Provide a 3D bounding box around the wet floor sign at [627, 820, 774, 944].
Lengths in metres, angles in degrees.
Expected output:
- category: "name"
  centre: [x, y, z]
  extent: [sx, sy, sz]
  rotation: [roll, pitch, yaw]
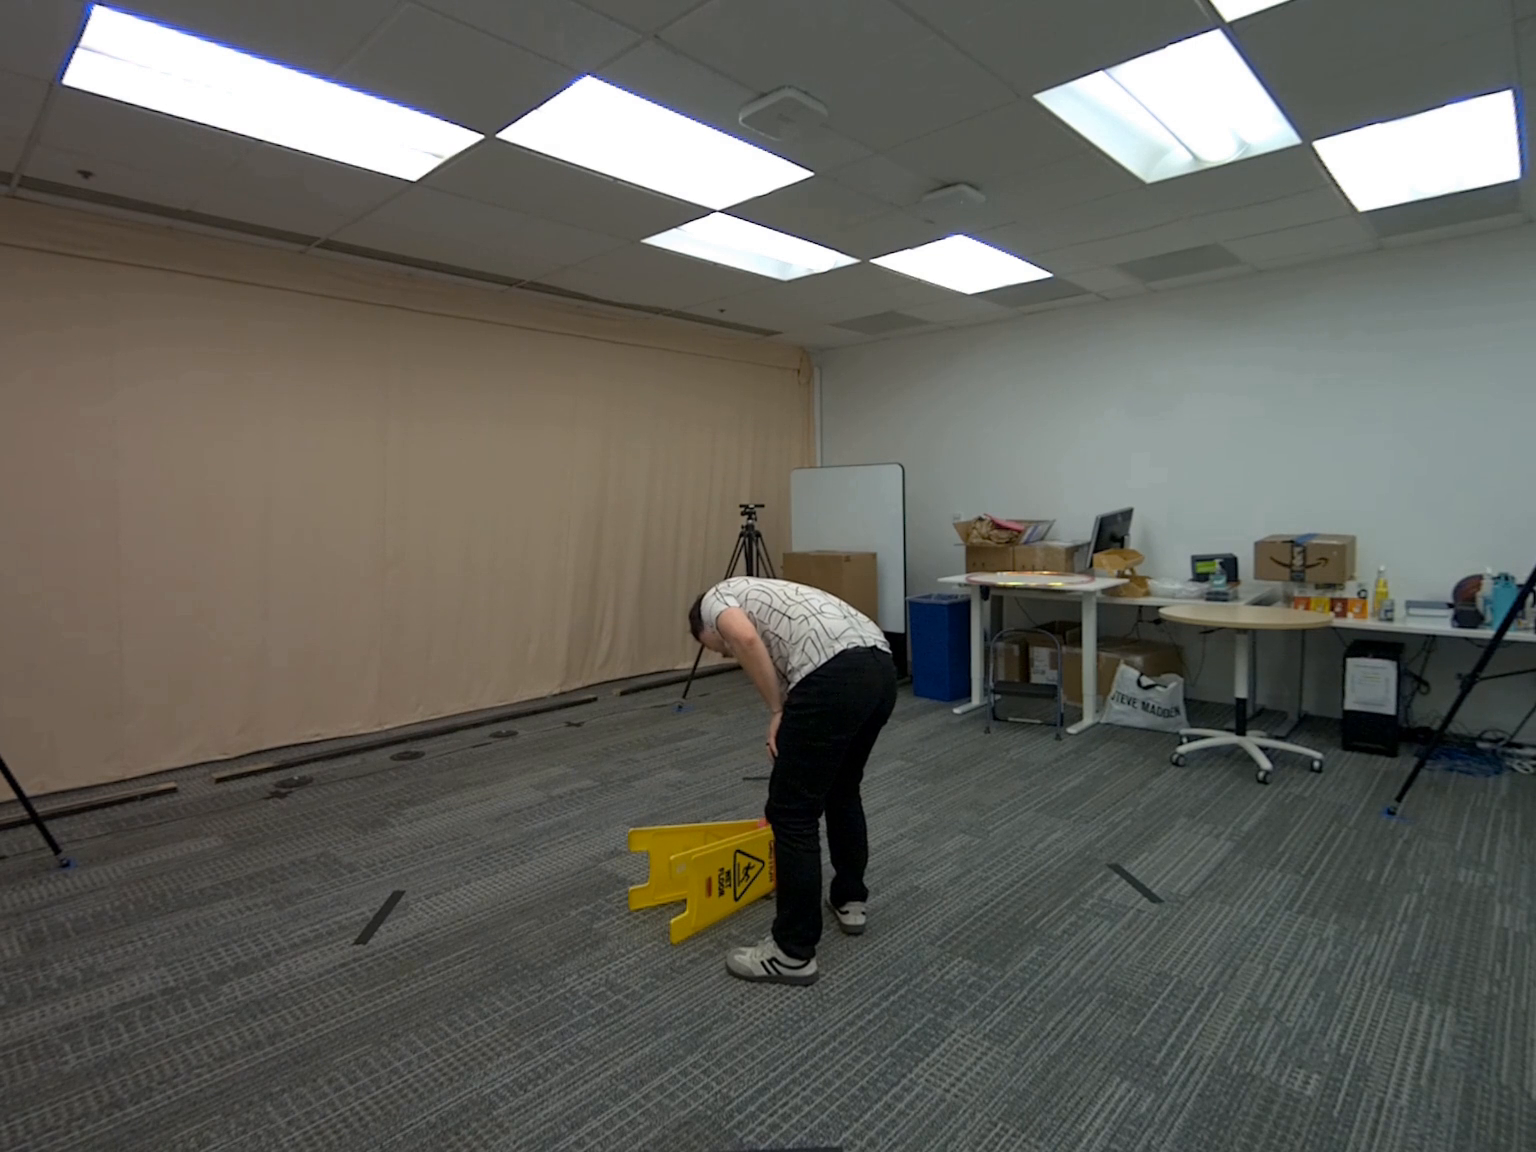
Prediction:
- category: "wet floor sign"
  centre: [-0.136, 1.014, 2.969]
  extent: [0.627, 0.282, 0.299]
  rotation: [-2, 4, -35]
